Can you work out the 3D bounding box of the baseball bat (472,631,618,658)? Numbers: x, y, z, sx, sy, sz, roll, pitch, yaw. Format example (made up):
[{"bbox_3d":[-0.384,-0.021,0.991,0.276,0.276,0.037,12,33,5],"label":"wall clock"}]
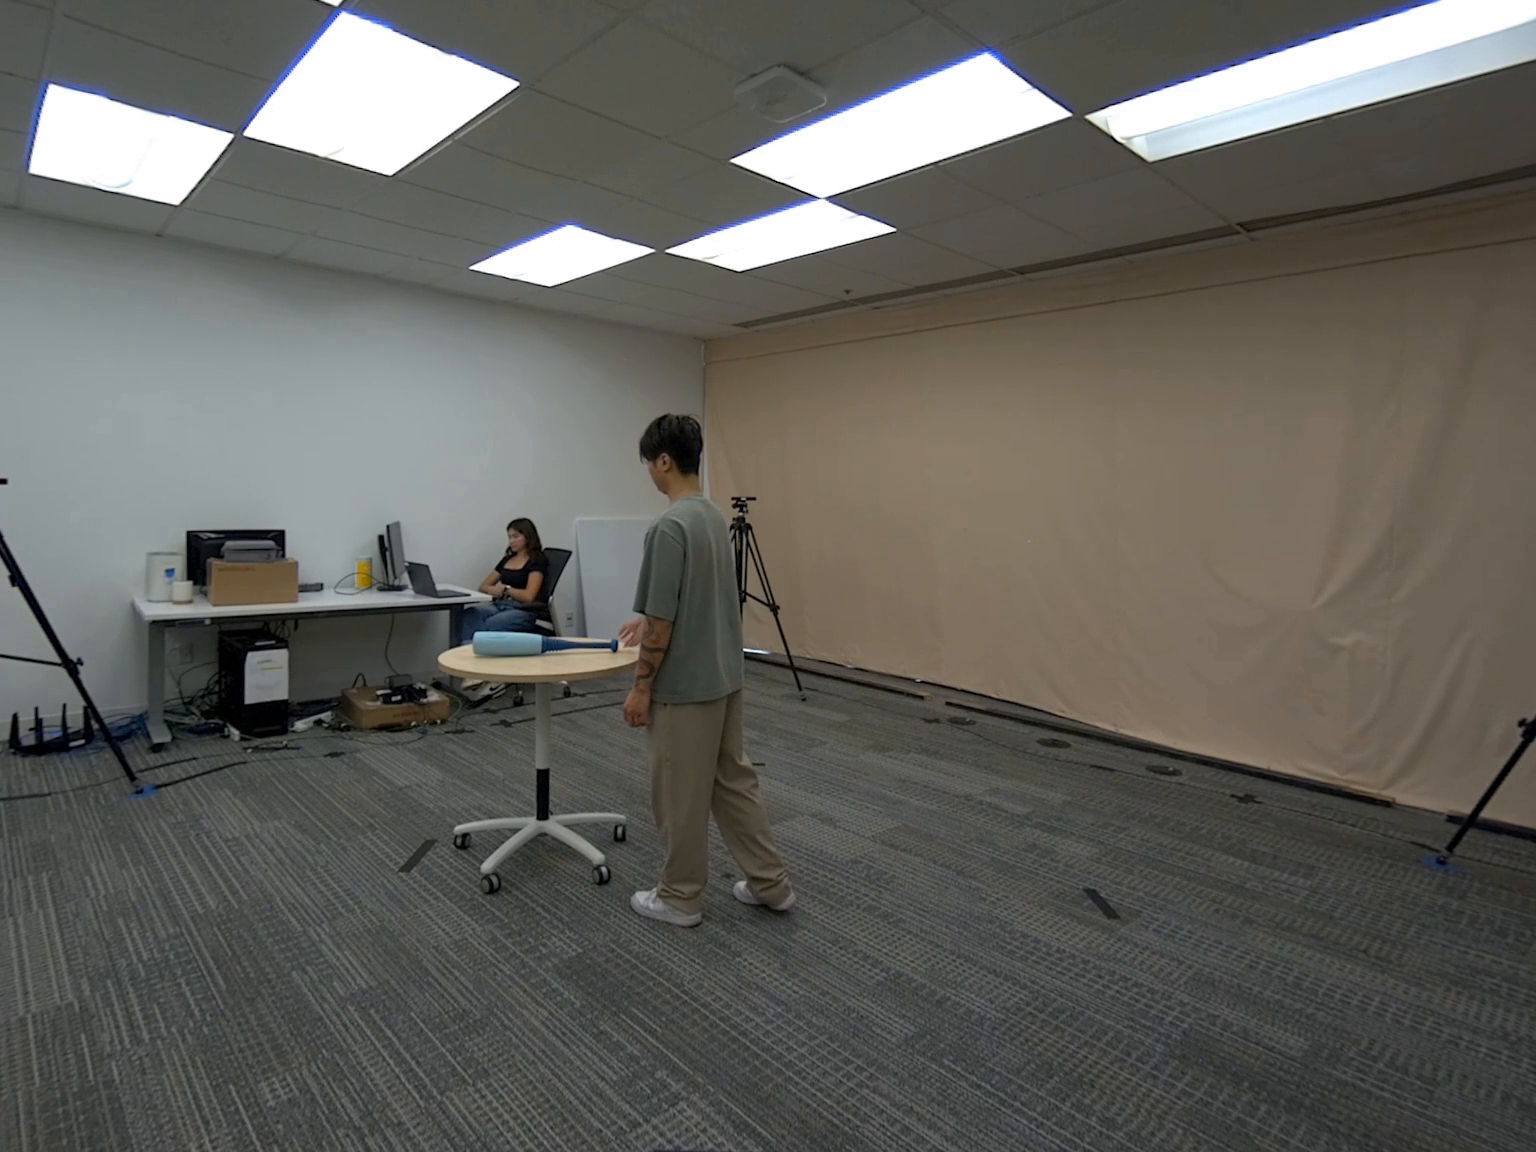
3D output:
[{"bbox_3d":[-0.852,0.264,3.206,0.536,0.089,0.090,2,4,-16],"label":"baseball bat"}]
